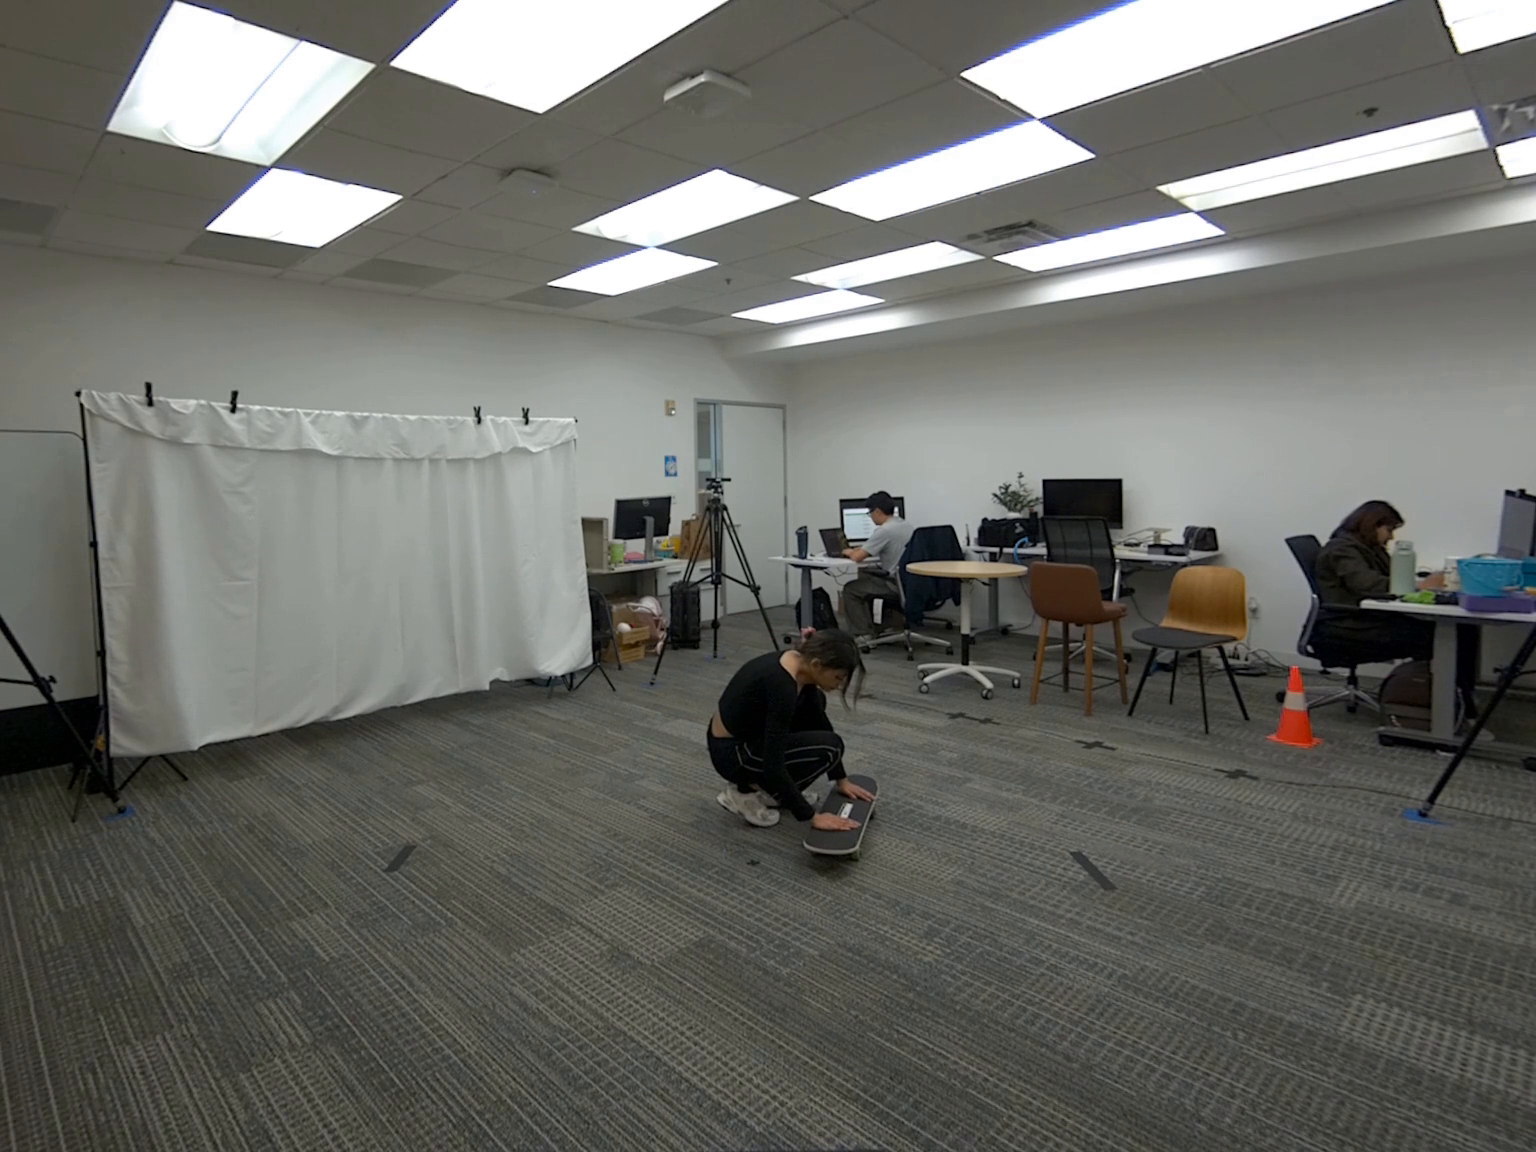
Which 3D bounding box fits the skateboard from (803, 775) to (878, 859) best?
[{"bbox_3d":[0.296,0.956,3.322,0.196,0.110,0.776,1,6,15],"label":"skateboard"}]
